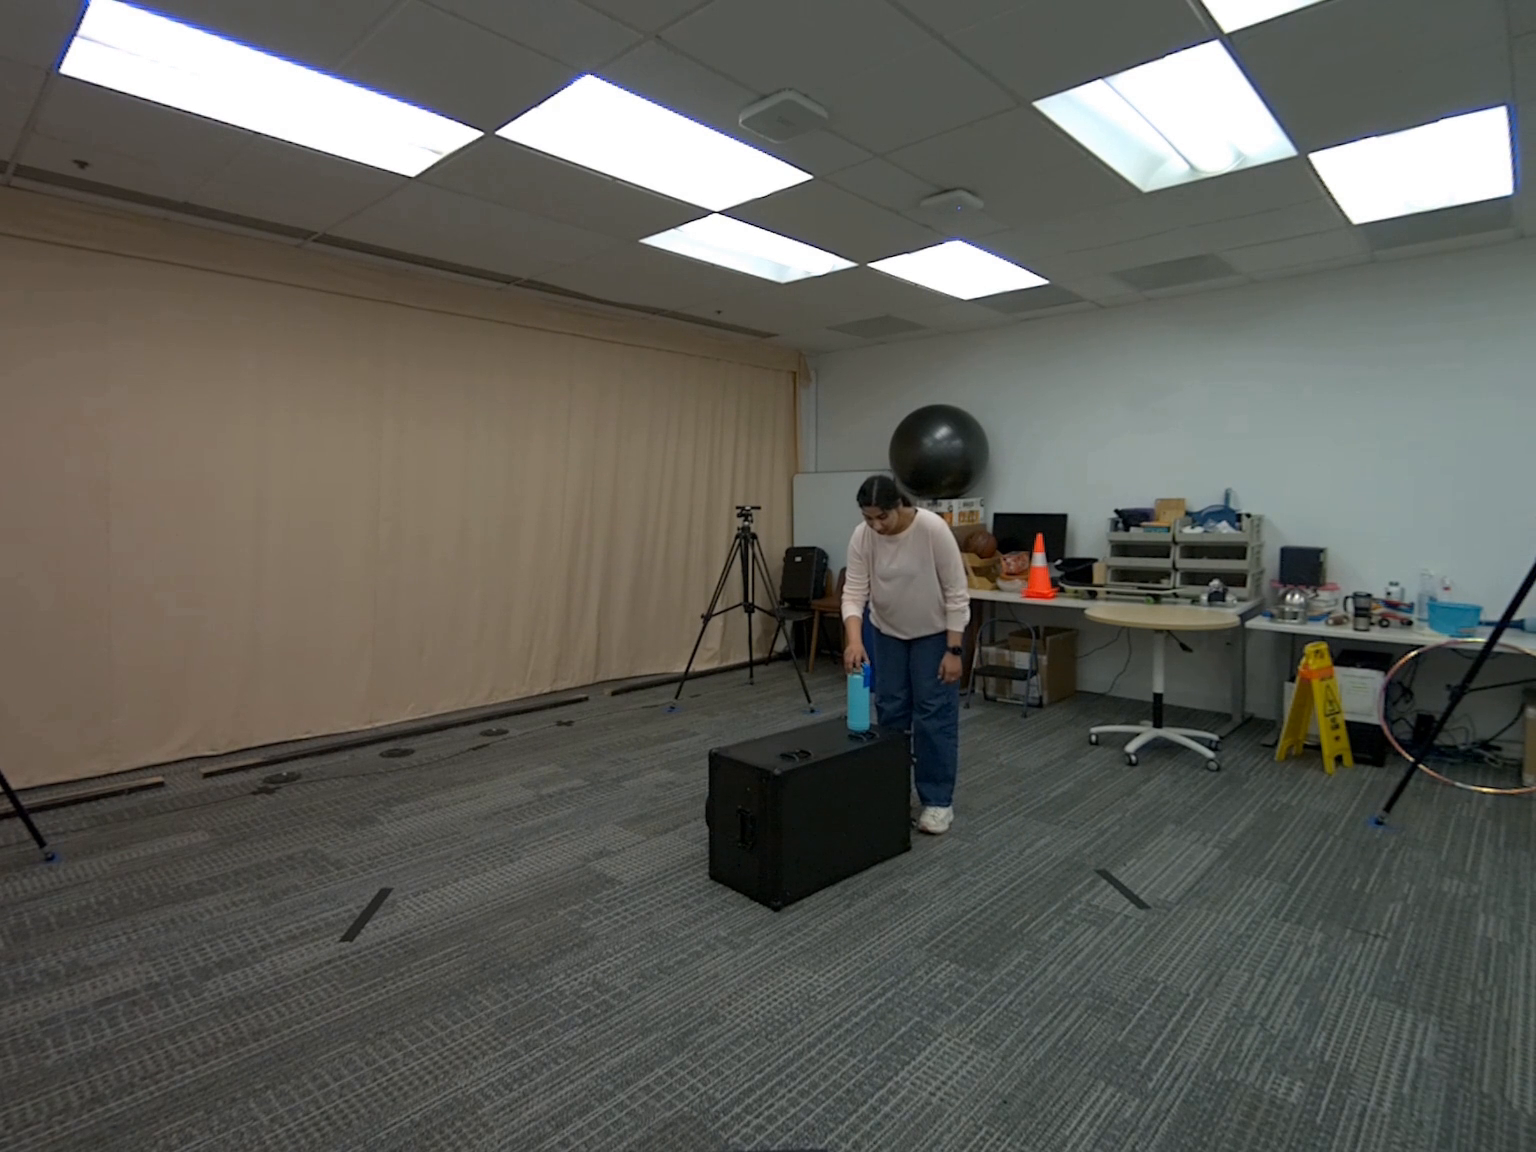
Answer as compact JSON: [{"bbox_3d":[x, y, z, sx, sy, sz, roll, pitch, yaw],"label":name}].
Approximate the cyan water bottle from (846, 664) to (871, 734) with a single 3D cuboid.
[{"bbox_3d":[0.379,0.486,3.451,0.092,0.283,0.092,3,1,-2],"label":"cyan water bottle"}]
